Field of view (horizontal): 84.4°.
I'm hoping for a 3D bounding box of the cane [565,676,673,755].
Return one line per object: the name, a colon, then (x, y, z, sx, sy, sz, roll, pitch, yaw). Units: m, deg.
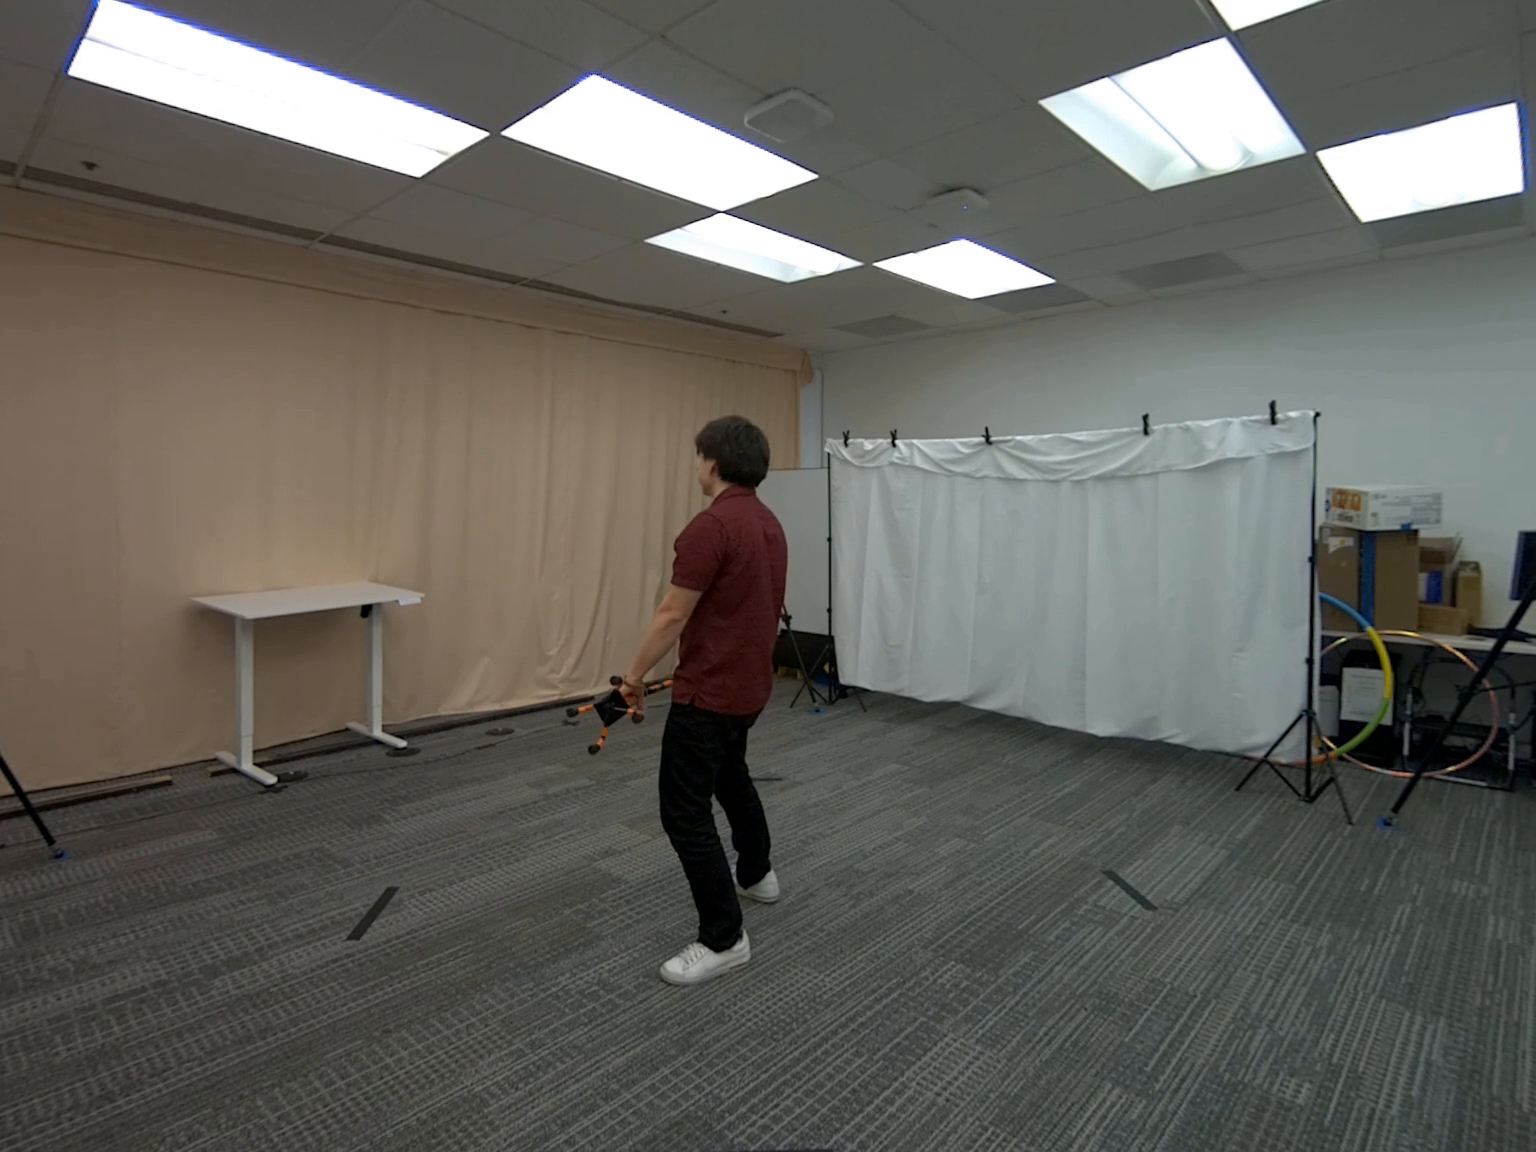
cane: (-0.330, 0.367, 2.806, 0.208, 0.153, 0.889, -34, -9, 18)
